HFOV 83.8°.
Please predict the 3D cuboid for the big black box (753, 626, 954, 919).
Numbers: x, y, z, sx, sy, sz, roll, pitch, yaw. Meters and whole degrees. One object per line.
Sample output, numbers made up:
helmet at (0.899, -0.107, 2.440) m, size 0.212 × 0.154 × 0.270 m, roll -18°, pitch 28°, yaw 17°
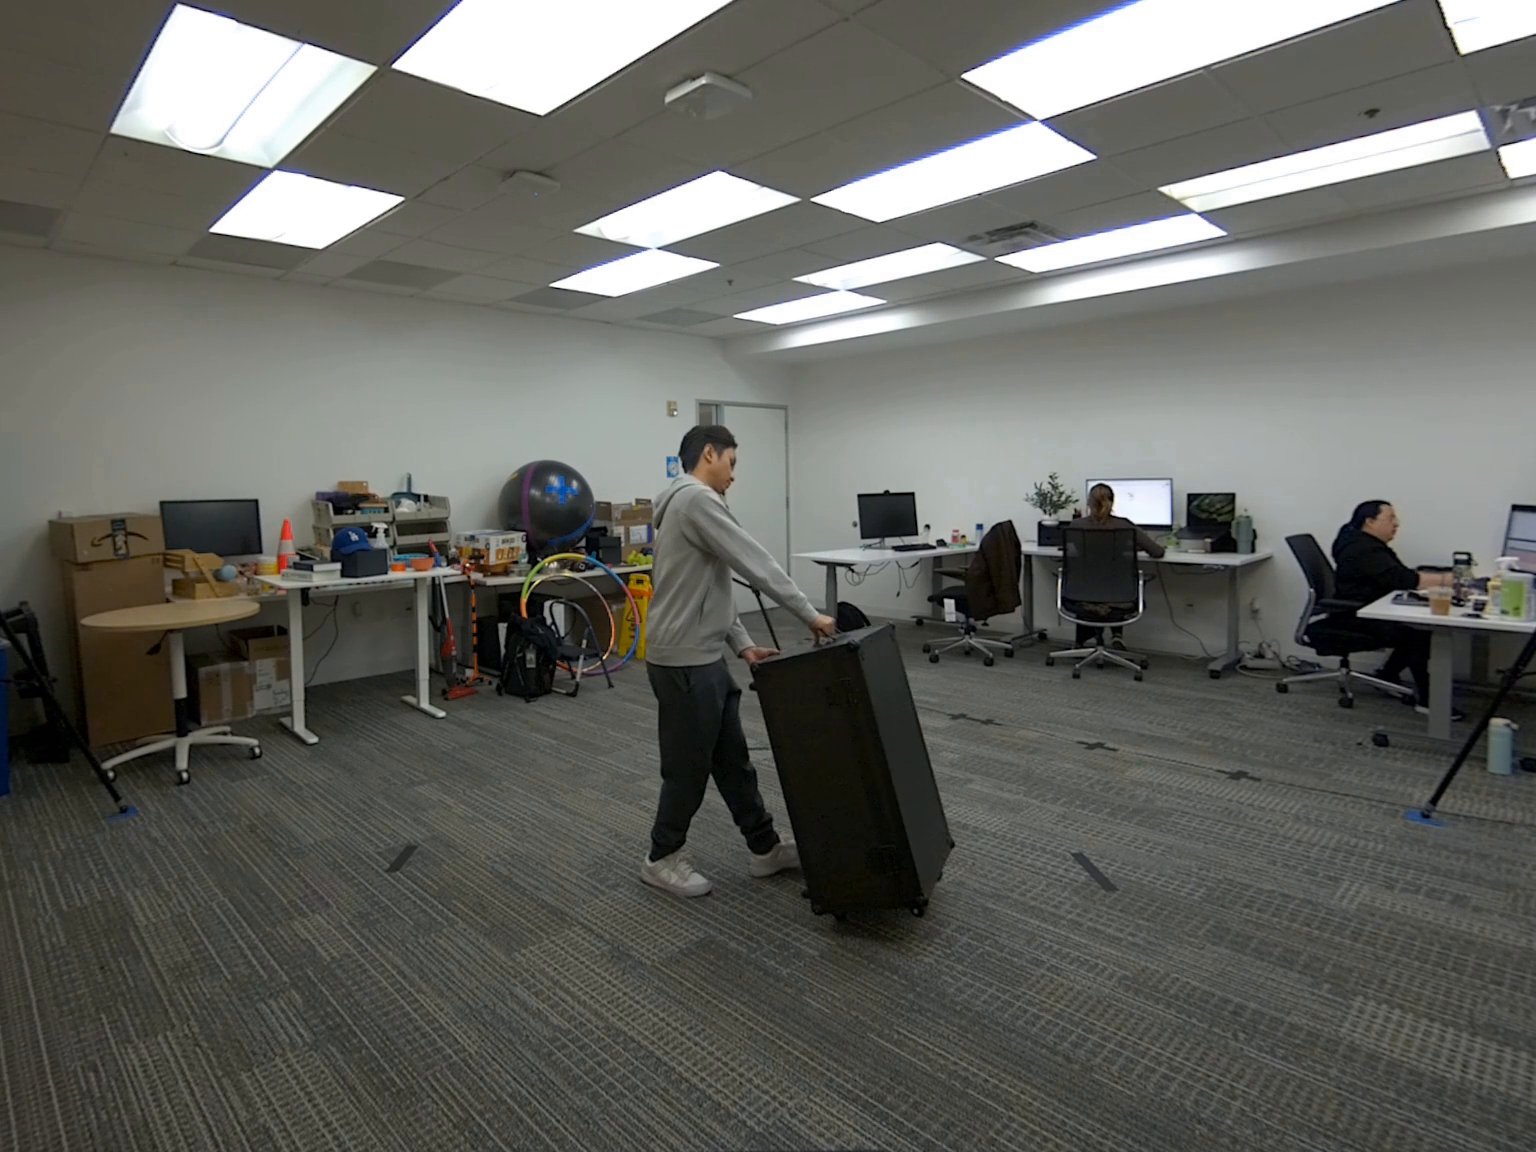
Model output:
big black box at (0.285, 0.631, 2.775) m, size 0.402 × 0.866 × 0.511 m, roll -17°, pitch -4°, yaw 23°
